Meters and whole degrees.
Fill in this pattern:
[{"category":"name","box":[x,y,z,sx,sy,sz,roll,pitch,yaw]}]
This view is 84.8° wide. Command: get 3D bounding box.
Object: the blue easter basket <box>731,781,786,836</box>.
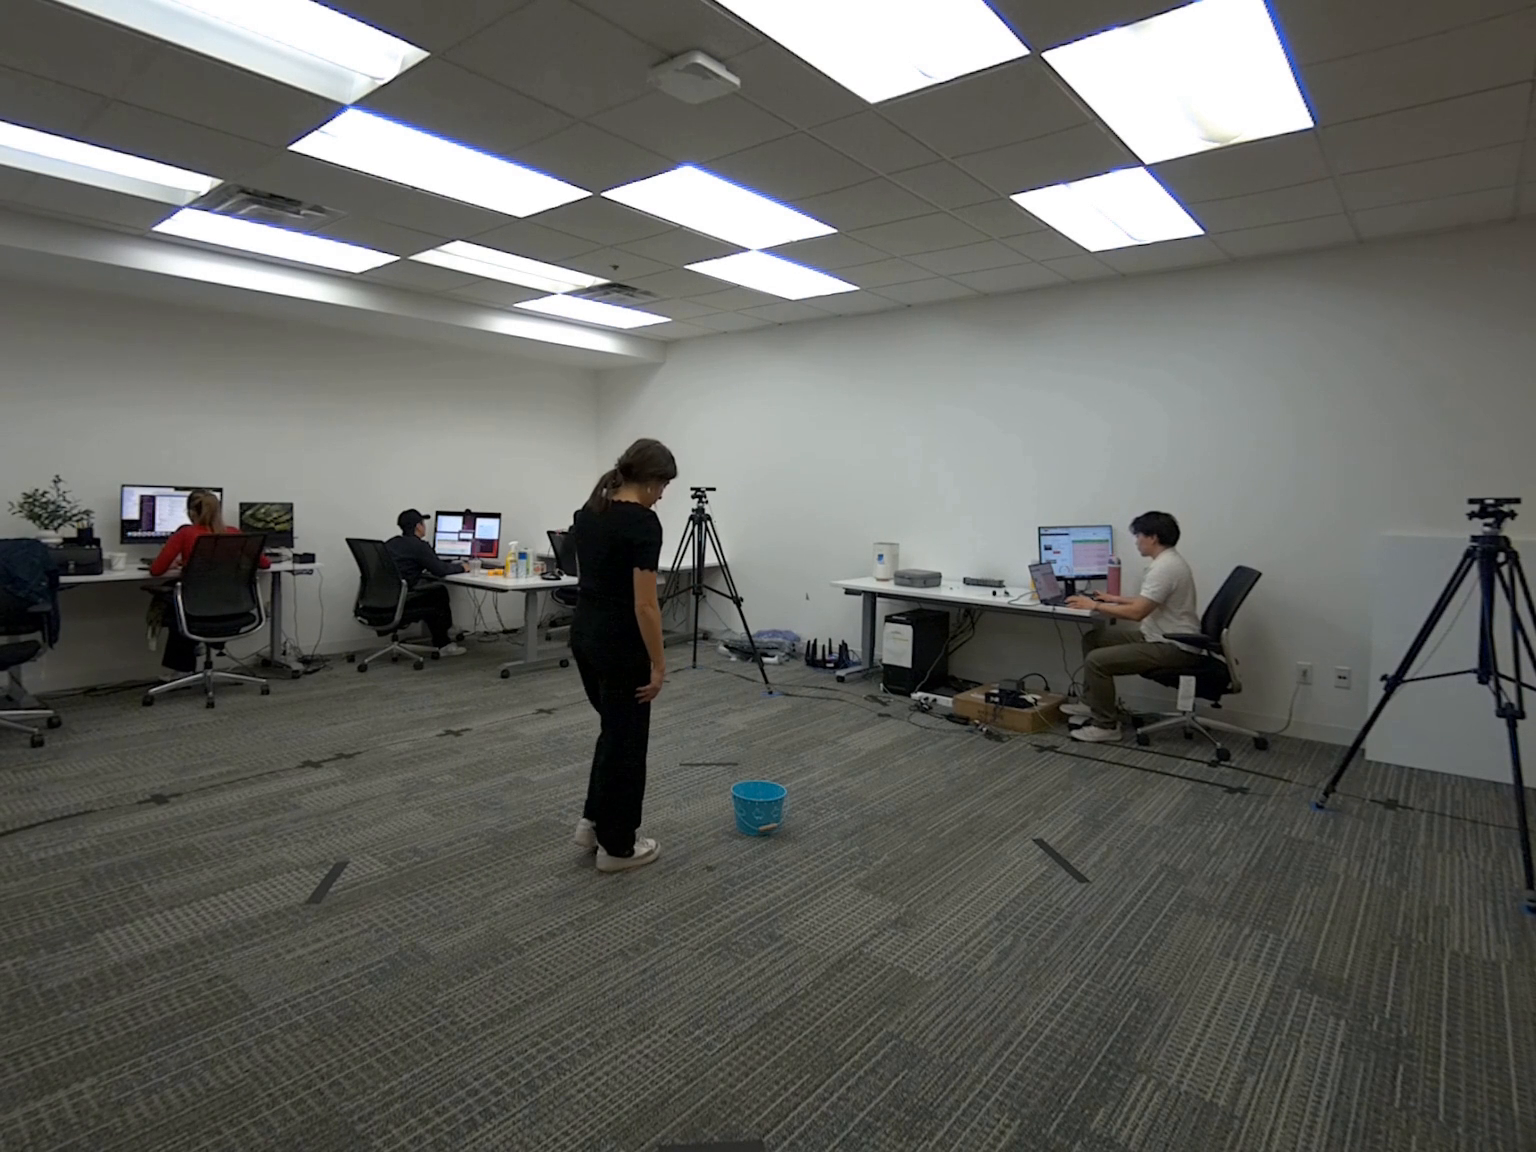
[{"category":"blue easter basket","box":[-0.045,0.949,3.502,0.243,0.155,0.245,1,4,-2]}]
